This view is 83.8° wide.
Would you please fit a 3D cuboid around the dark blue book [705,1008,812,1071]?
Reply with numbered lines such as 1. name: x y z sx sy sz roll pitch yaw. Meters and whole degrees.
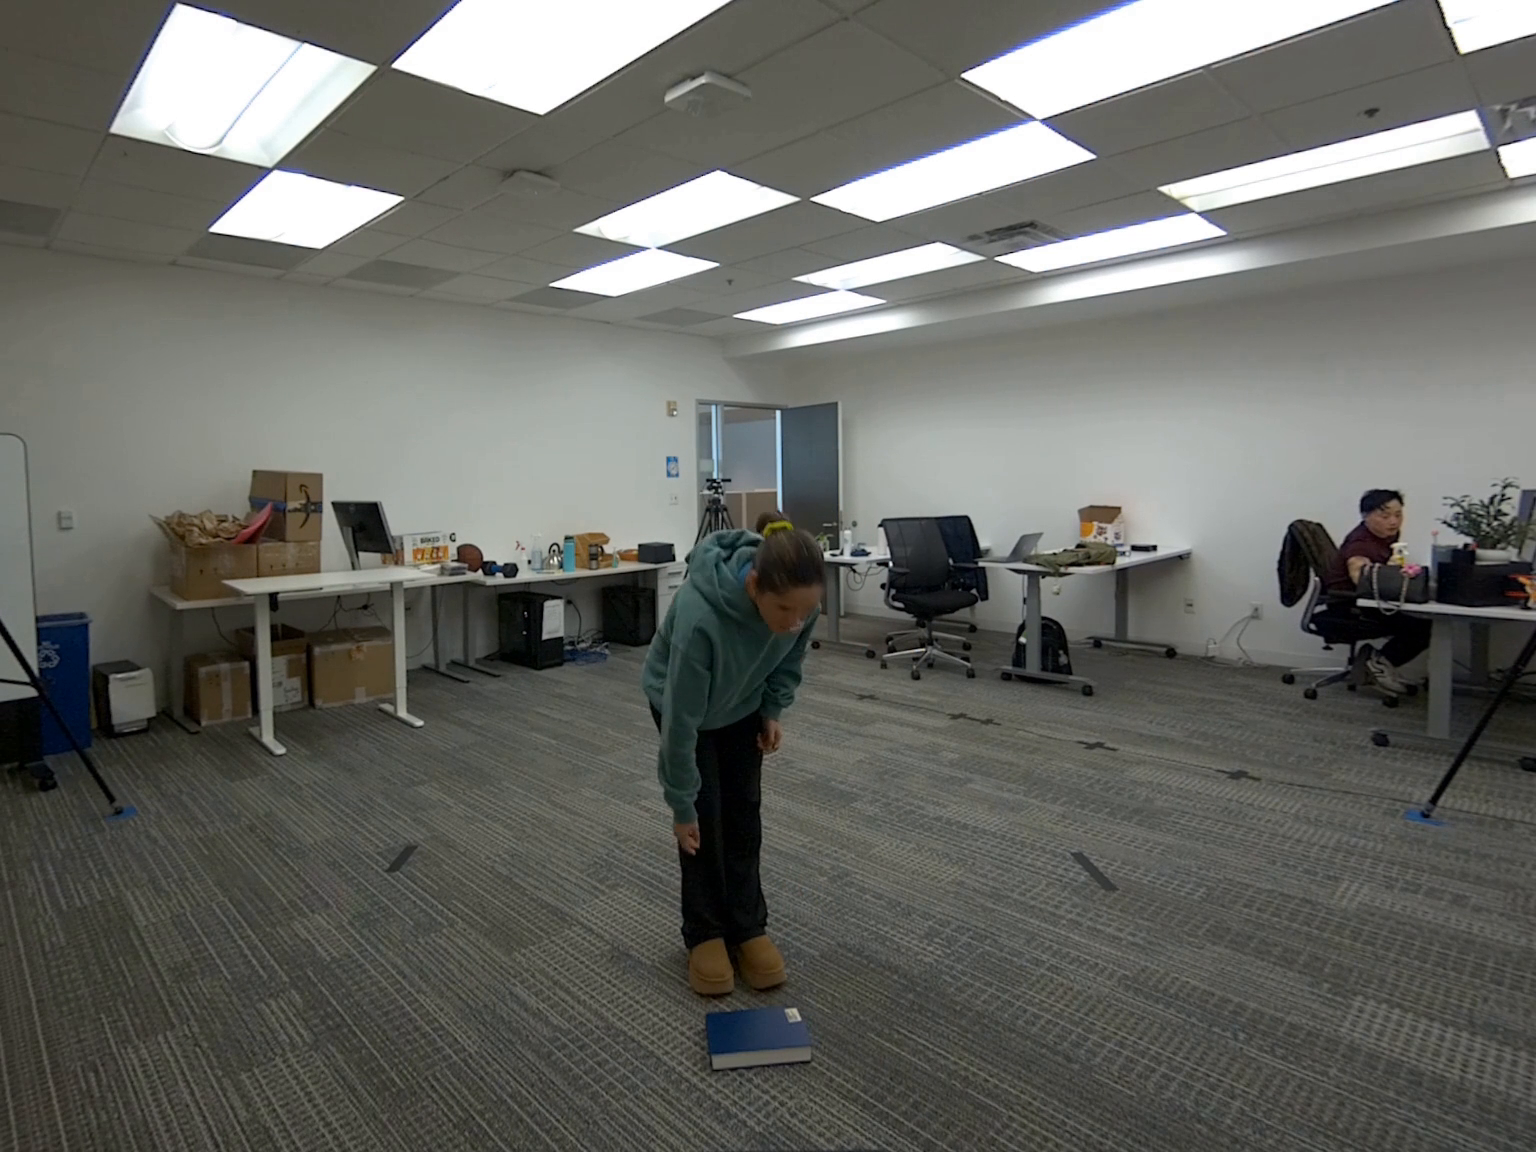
1. dark blue book: -0.022 1.143 2.111 0.243 0.045 0.165 -3 6 -7
